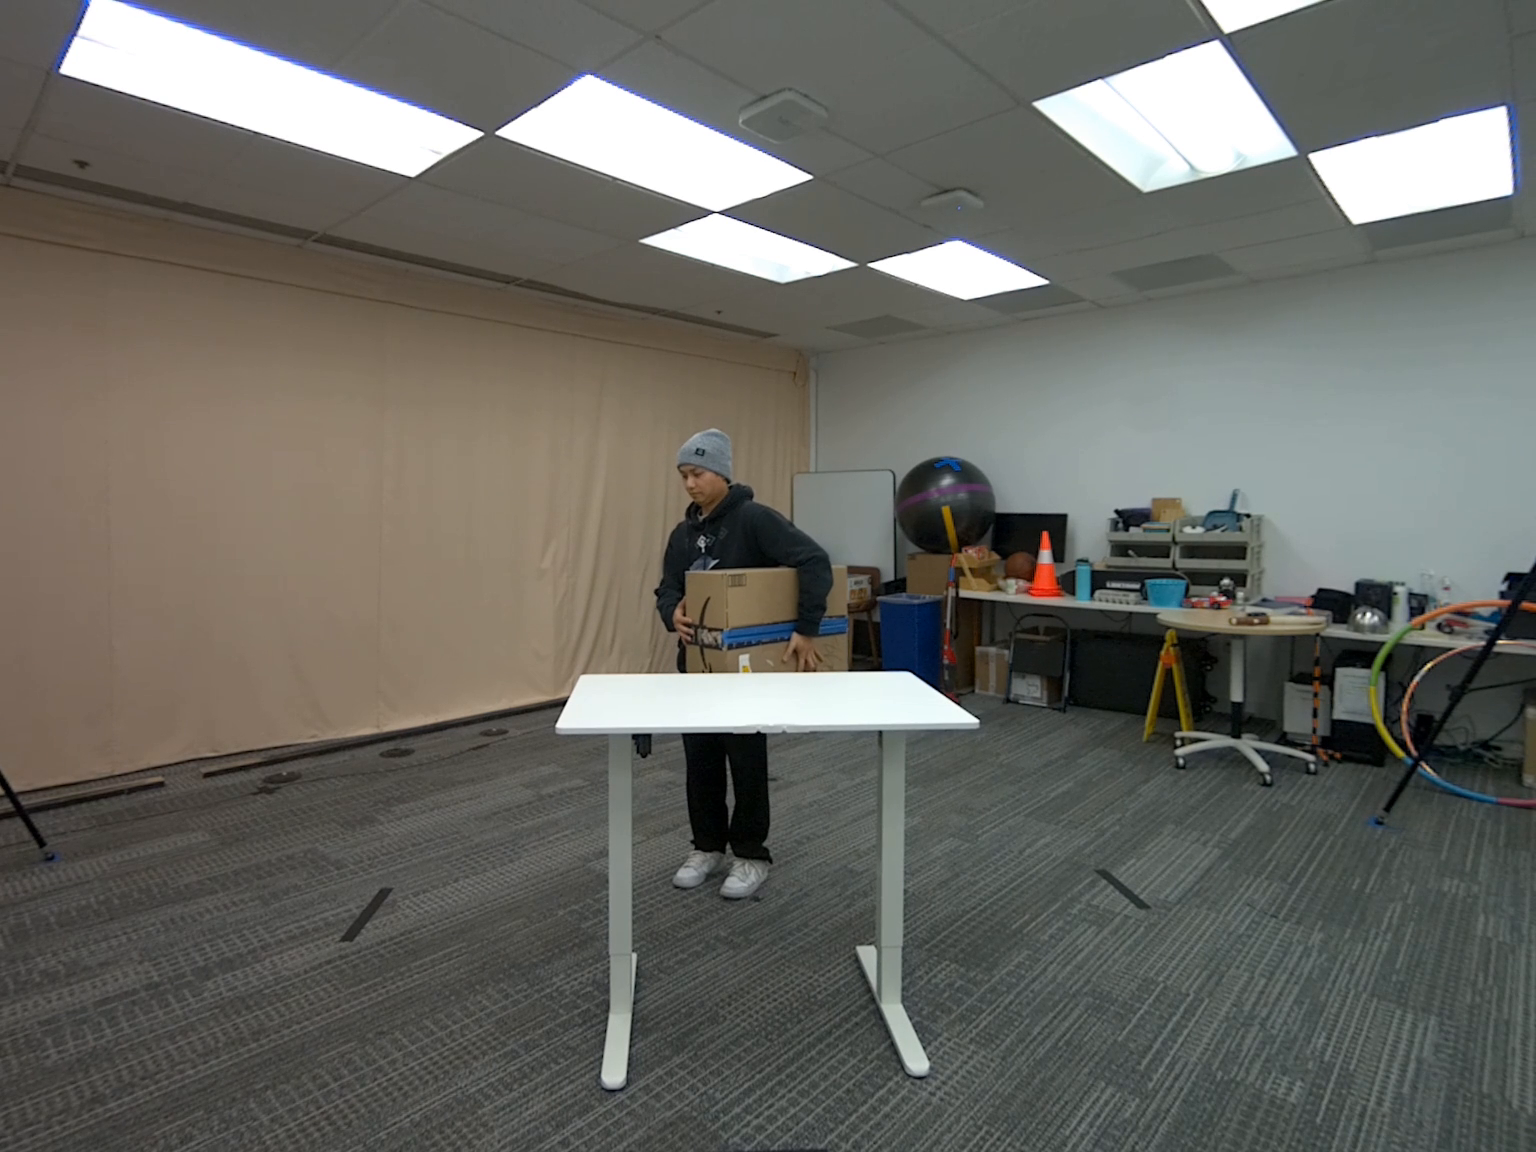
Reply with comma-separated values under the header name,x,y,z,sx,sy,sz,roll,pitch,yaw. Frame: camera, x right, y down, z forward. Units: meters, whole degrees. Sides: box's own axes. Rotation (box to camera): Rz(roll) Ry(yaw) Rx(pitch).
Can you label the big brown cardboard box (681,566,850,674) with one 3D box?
name,x,y,z,sx,sy,sz,roll,pitch,yaw
big brown cardboard box,0.006,0.184,2.885,0.571,0.417,0.241,-4,3,-40
